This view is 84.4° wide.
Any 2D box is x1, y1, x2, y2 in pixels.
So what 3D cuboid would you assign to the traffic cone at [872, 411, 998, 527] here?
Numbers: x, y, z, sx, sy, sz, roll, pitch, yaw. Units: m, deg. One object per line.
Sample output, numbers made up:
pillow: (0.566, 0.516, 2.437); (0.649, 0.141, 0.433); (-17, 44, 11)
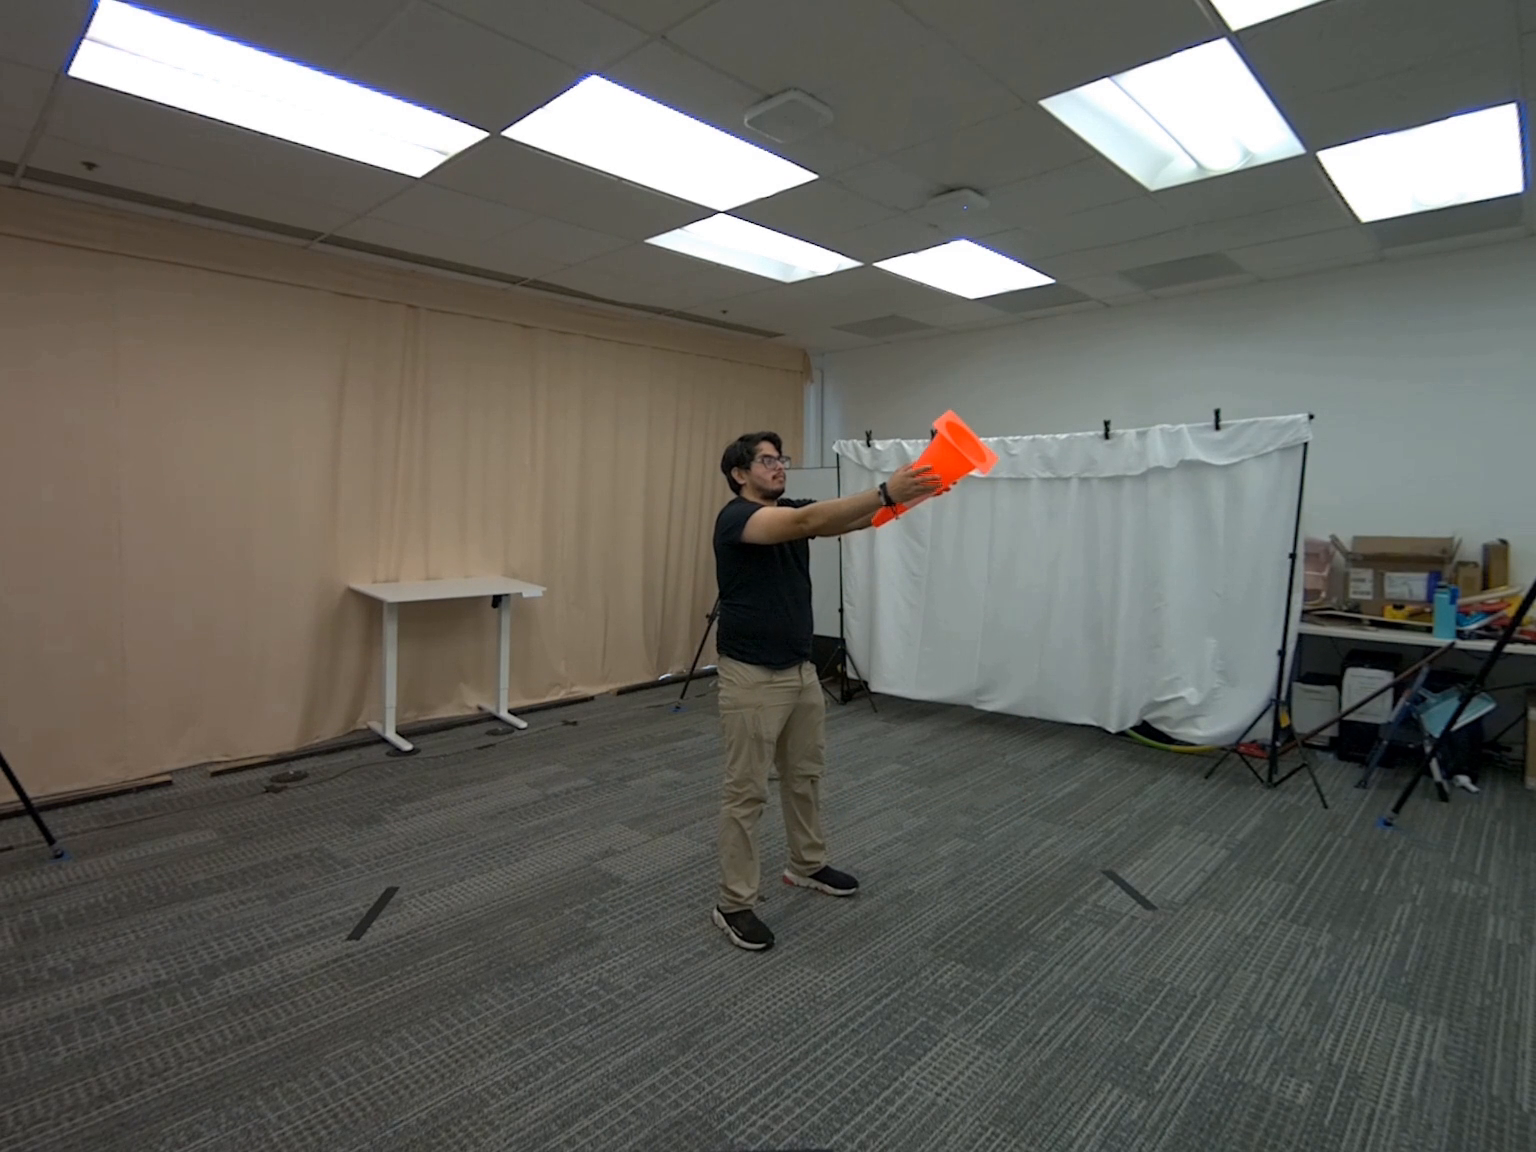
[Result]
traffic cone: (0.451, -0.265, 2.454); (0.387, 0.205, 0.202); (-45, -5, 35)
